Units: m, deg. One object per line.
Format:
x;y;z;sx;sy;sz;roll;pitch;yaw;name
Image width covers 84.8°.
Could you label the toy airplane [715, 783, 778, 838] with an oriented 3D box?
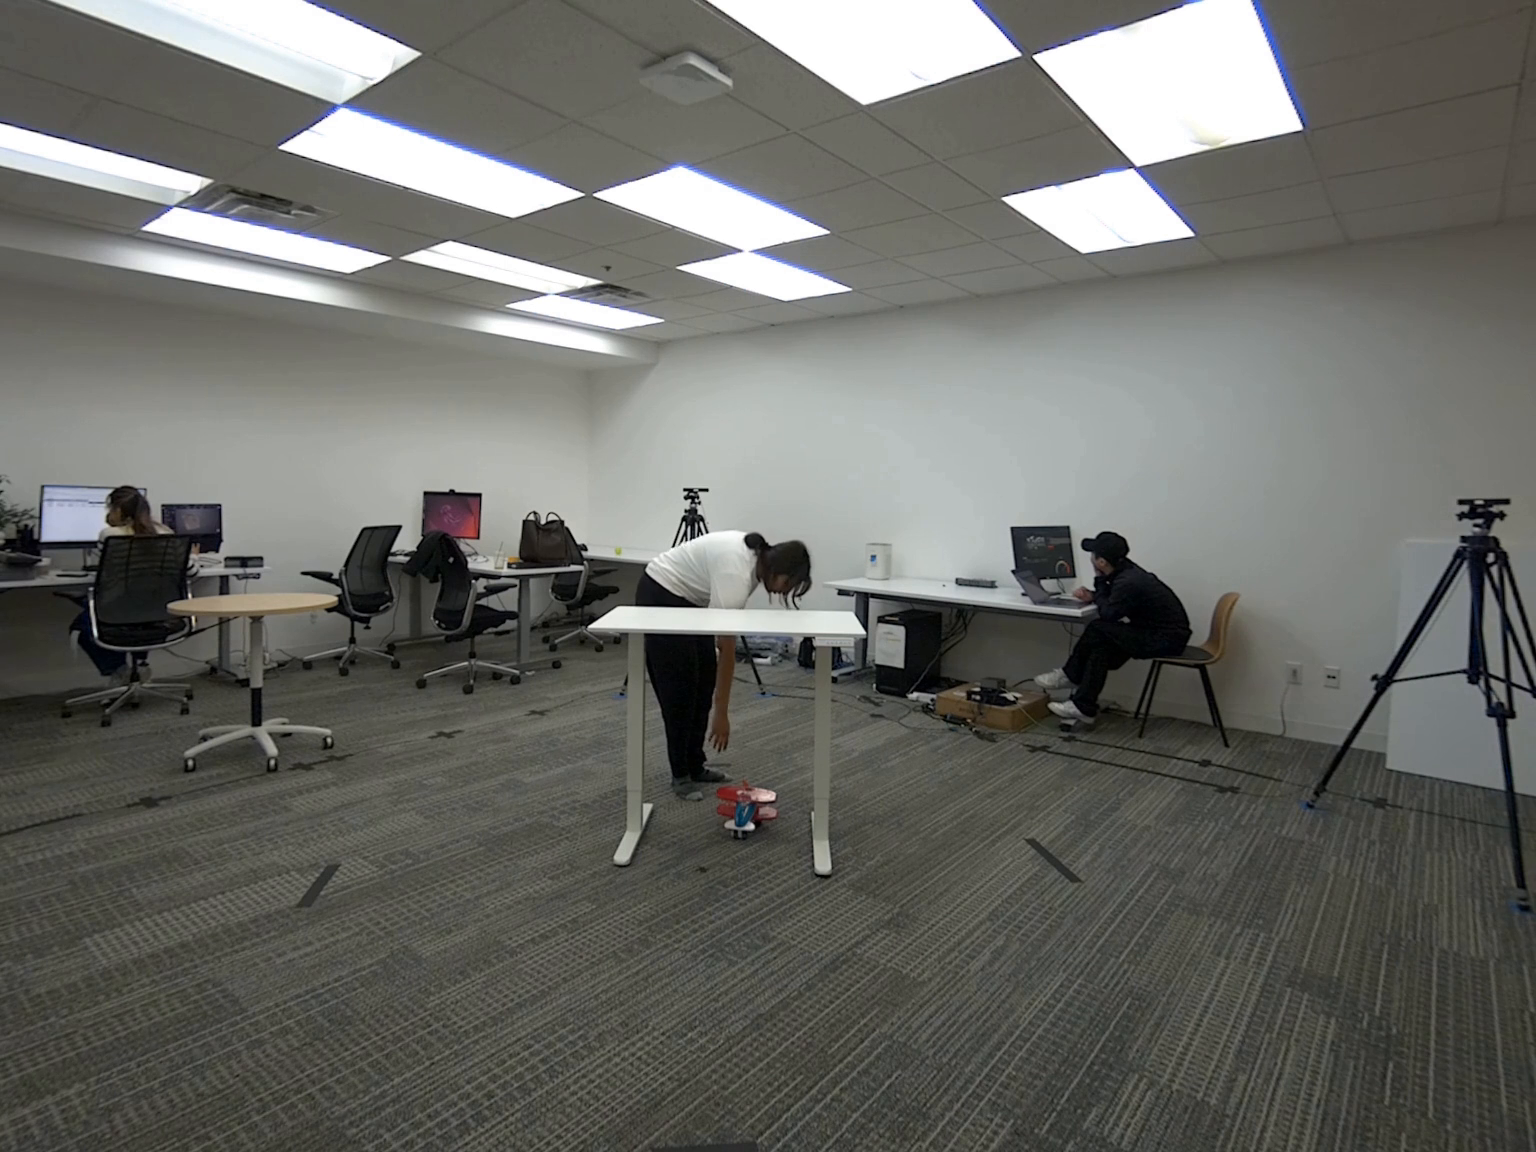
-0.084;0.965;3.479;0.247;0.156;0.264;-1;4;-17;toy airplane
